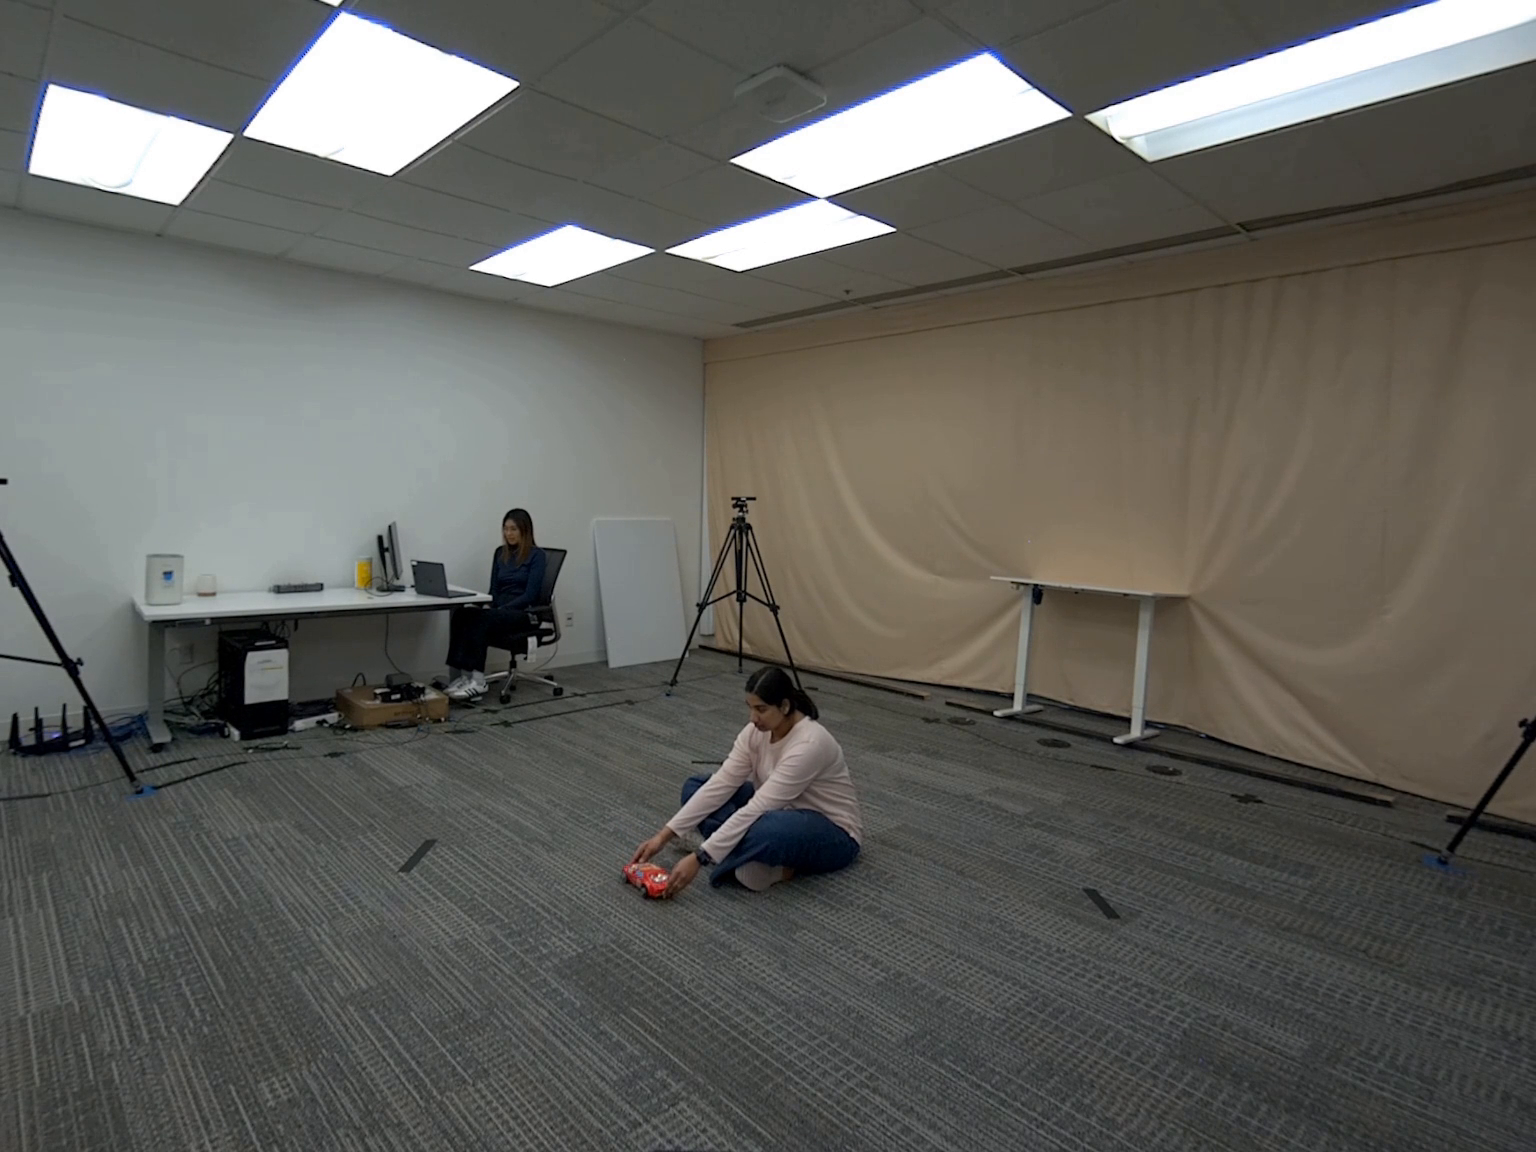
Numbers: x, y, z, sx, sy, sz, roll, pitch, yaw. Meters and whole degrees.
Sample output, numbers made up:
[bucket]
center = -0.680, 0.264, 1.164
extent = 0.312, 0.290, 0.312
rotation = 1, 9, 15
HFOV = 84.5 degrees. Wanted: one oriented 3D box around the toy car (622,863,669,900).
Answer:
[toy car]
center = -0.423, 1.063, 2.980
extent = 0.127, 0.083, 0.259
rotation = -2, -6, -37
